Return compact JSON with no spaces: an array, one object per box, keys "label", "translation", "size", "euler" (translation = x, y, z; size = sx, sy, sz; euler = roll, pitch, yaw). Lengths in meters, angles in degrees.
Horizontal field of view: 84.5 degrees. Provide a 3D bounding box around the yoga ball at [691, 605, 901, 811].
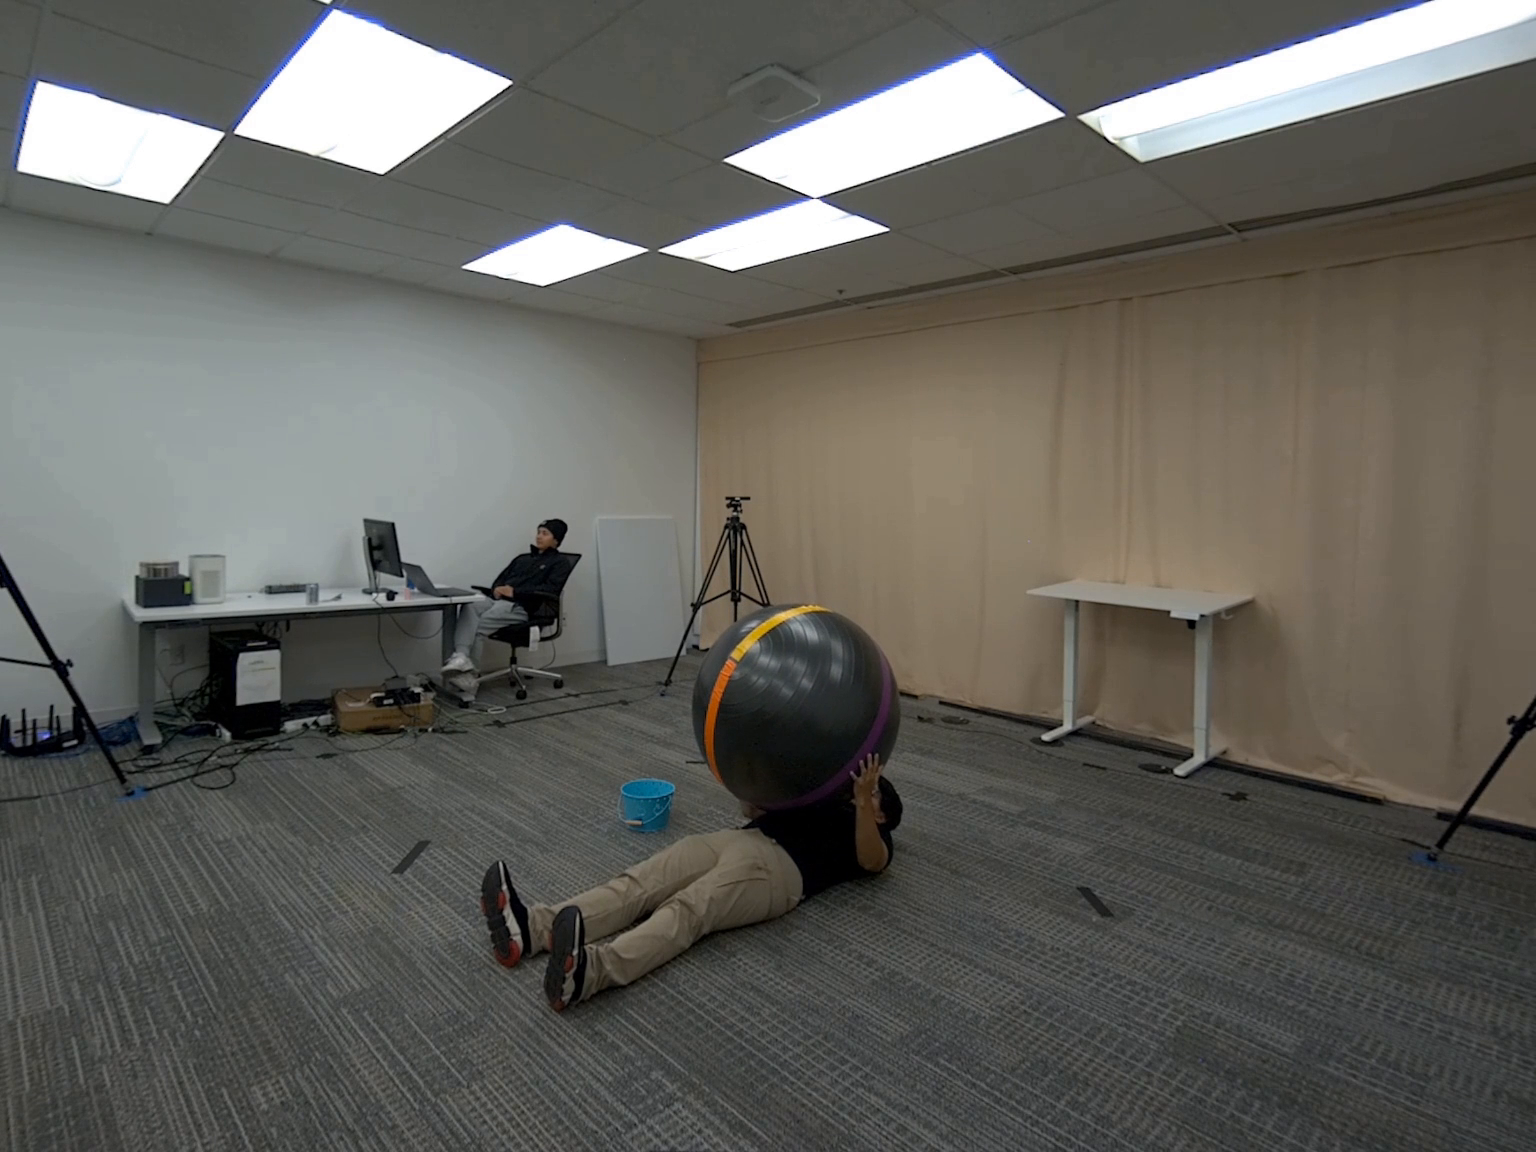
[{"label":"yoga ball","translation":[0.090,0.484,3.074],"size":[0.757,0.755,0.761],"euler":[1,5,-1]}]
